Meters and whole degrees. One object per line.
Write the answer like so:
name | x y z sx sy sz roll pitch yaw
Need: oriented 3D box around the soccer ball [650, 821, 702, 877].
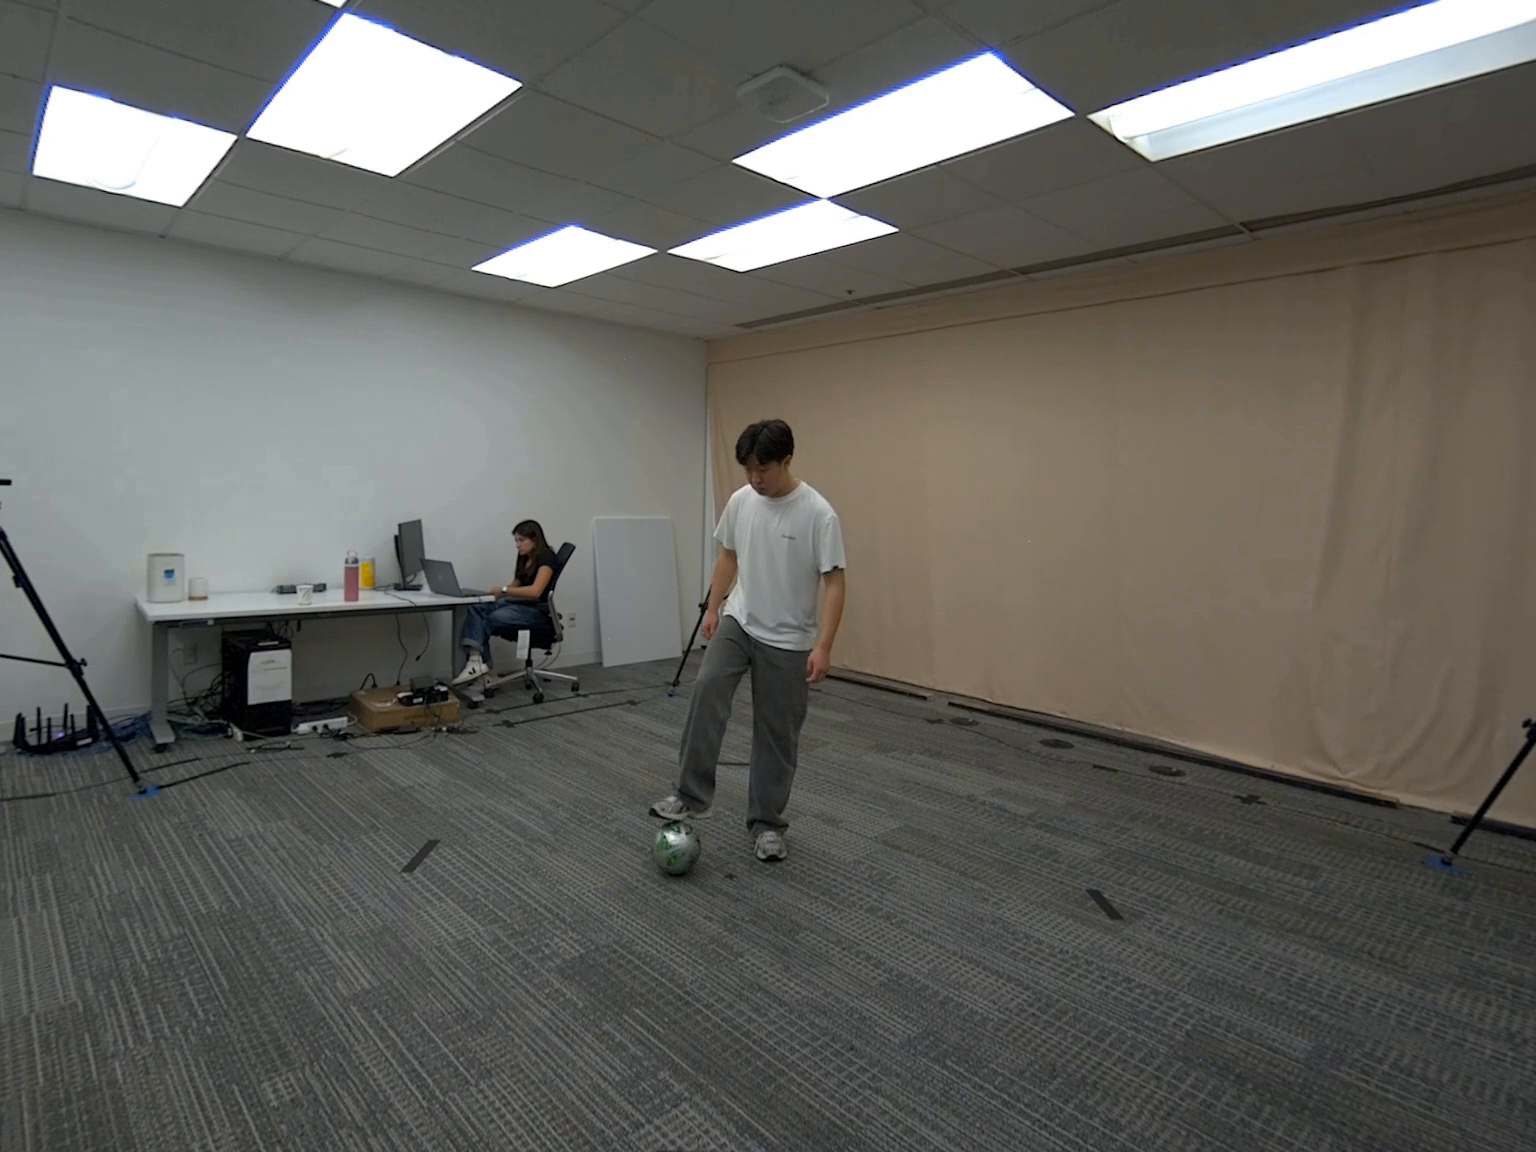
soccer ball | -0.349 1.011 3.122 0.187 0.187 0.188 1 4 -1
